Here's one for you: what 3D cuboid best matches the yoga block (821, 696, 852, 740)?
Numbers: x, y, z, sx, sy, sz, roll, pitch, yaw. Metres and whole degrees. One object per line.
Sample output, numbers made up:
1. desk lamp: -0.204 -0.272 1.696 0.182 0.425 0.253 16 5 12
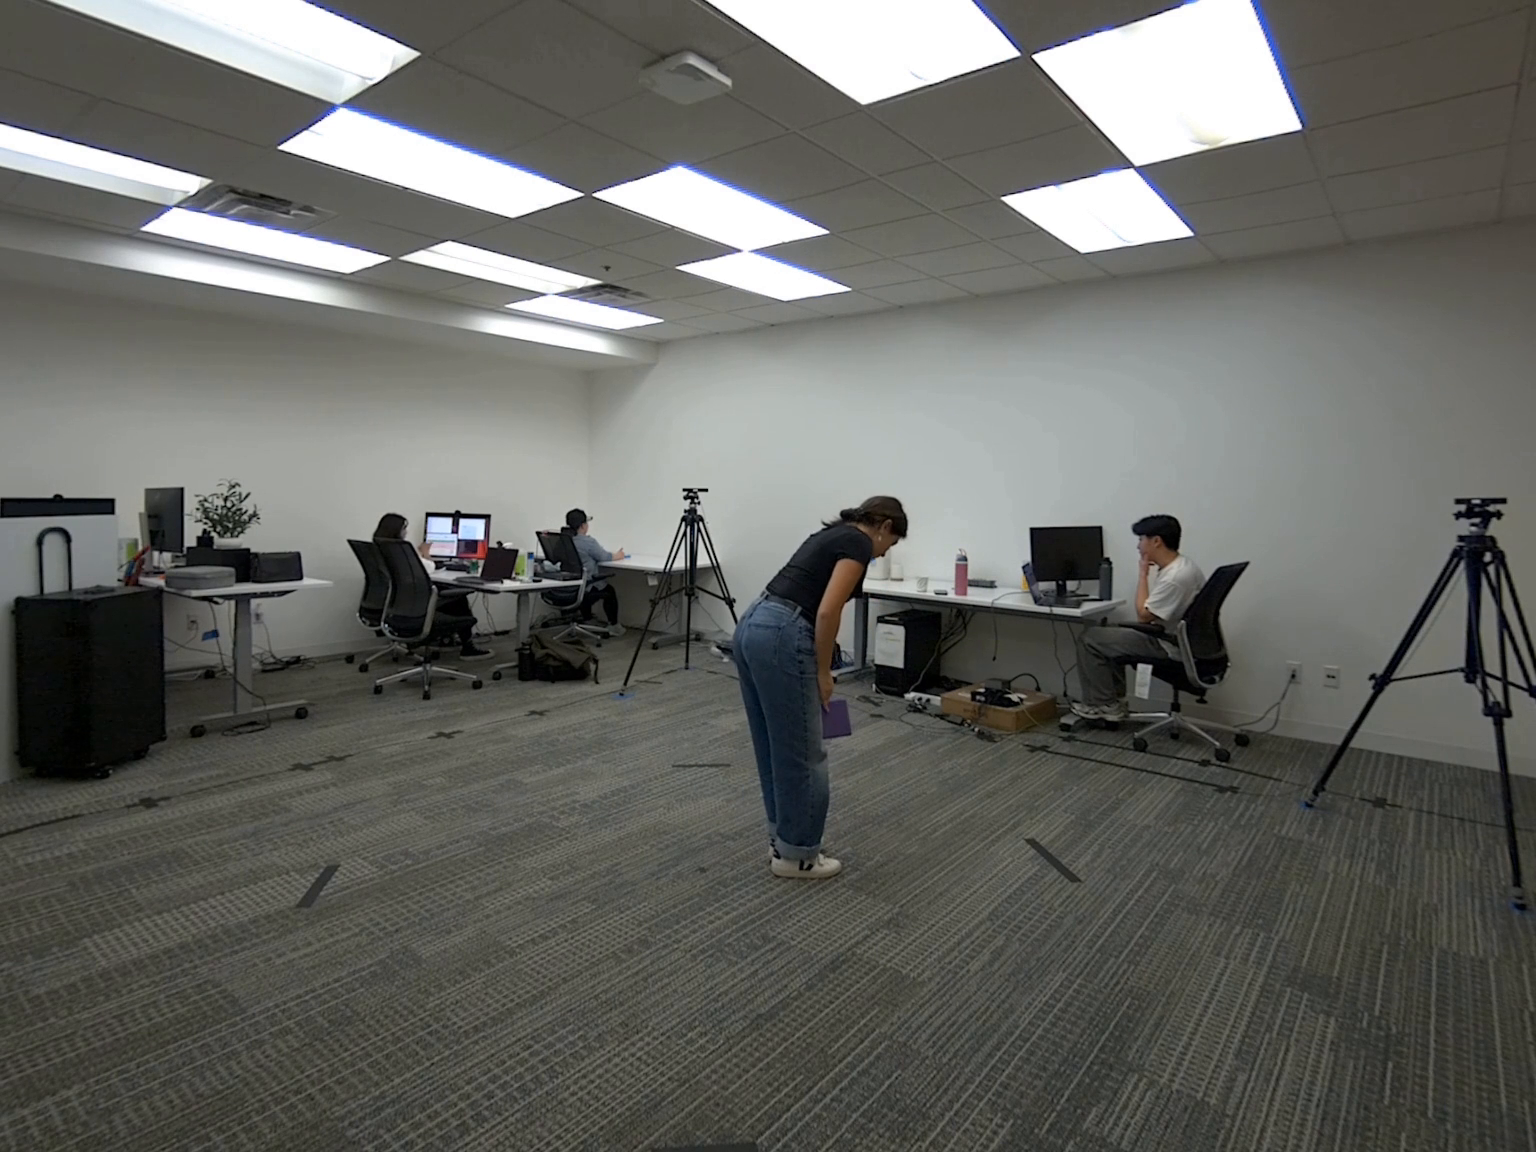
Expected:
1. yoga block: 0.226 0.570 3.375 0.225 0.151 0.077 -4 -11 -20
